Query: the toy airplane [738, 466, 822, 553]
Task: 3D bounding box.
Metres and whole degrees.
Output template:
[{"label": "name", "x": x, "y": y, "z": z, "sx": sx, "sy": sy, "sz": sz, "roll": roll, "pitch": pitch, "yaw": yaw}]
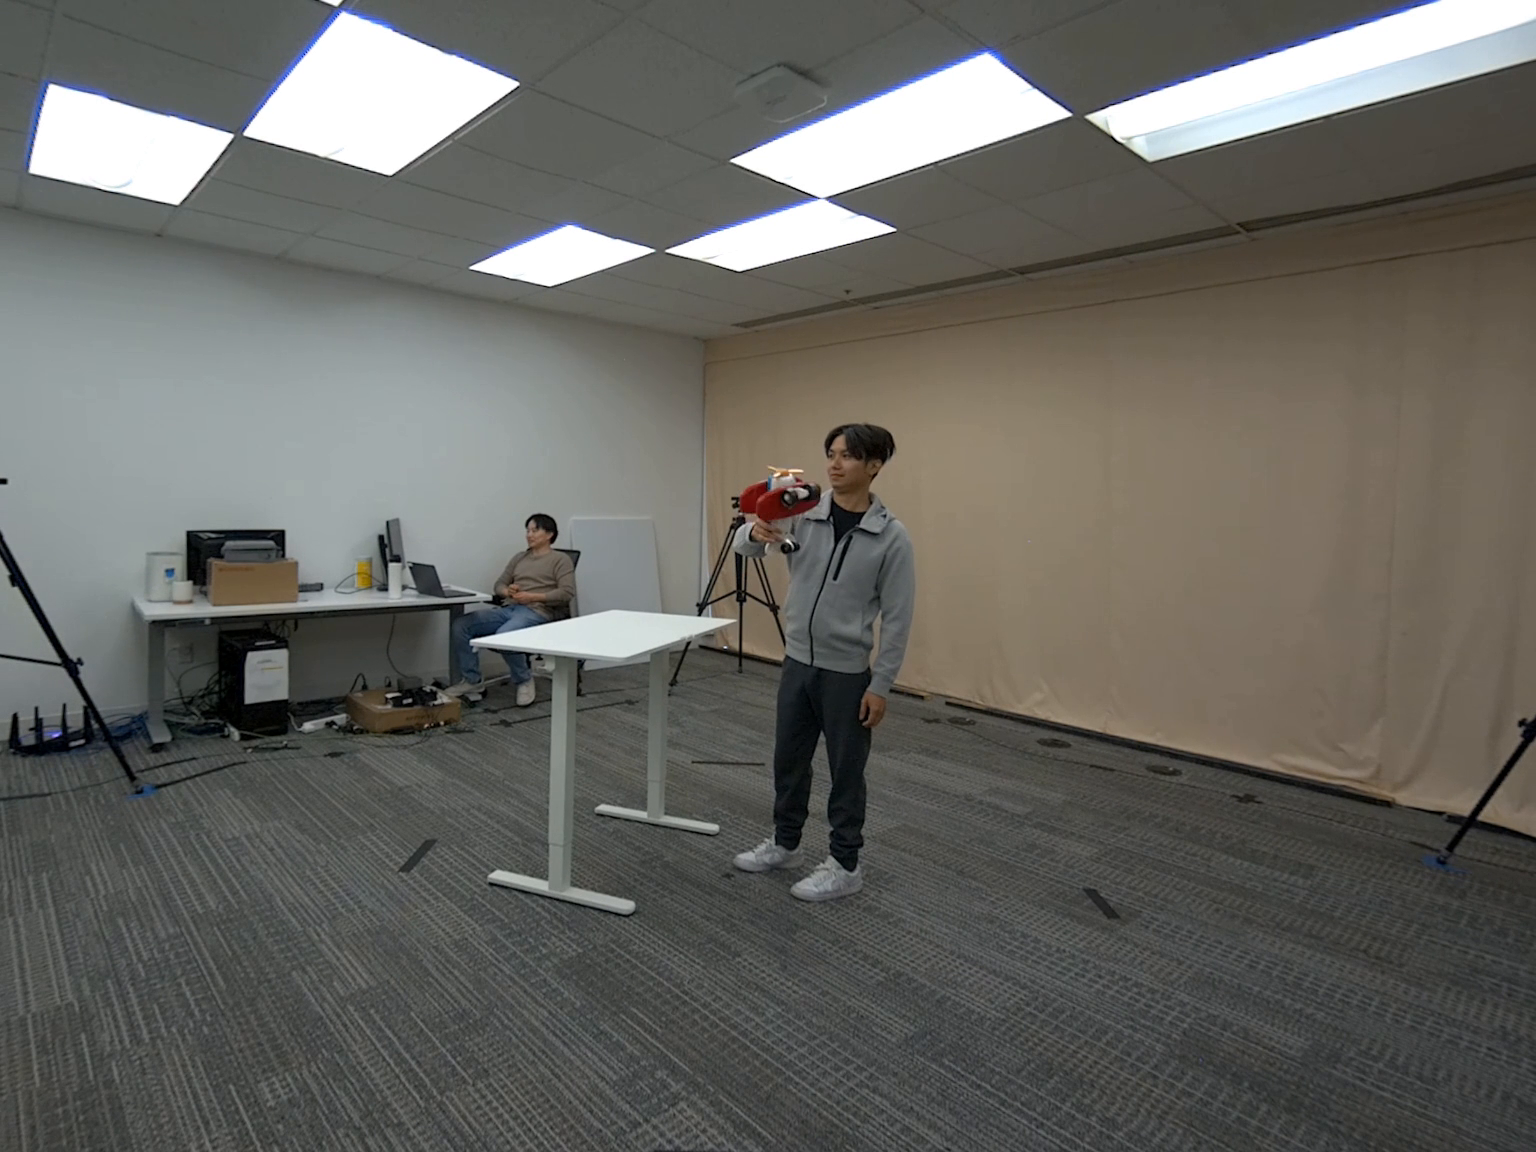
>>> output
[{"label": "toy airplane", "x": 0.018, "y": -0.184, "z": 2.518, "sx": 0.161, "sy": 0.258, "sz": 0.244, "roll": 39, "pitch": 13, "yaw": 36}]
